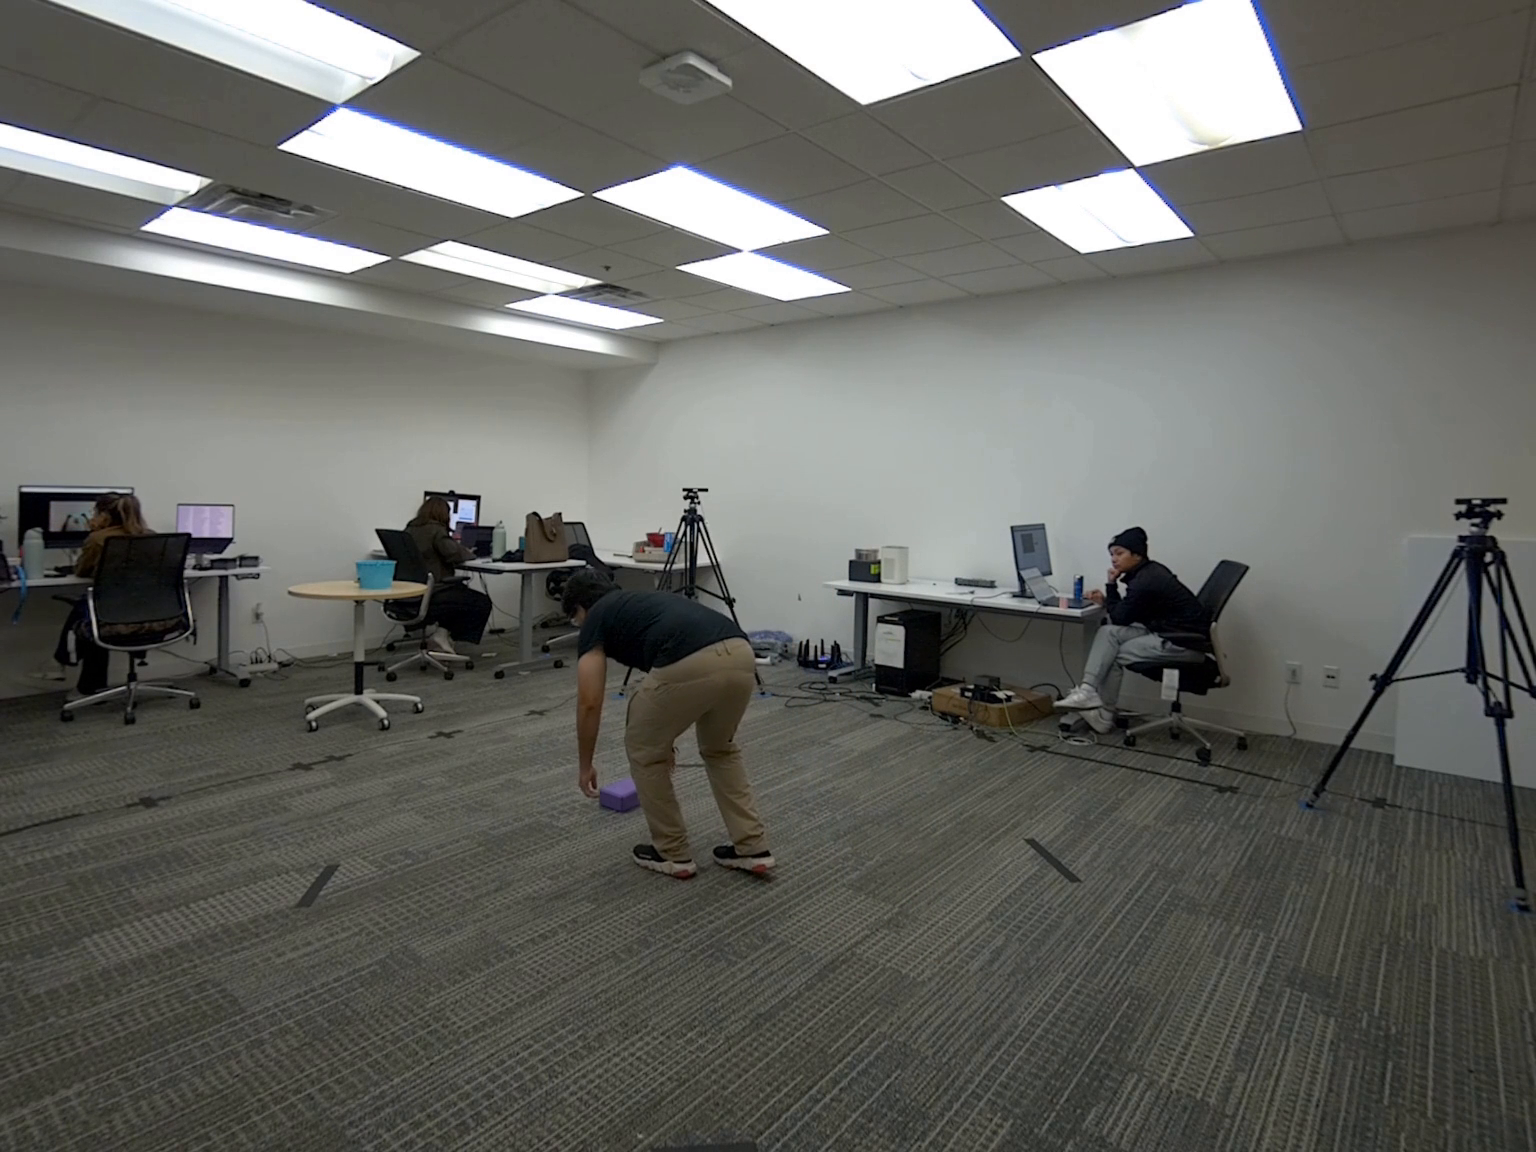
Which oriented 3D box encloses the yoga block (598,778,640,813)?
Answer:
[{"bbox_3d":[-0.631,0.958,3.763,0.154,0.076,0.223,3,6,37],"label":"yoga block"}]
